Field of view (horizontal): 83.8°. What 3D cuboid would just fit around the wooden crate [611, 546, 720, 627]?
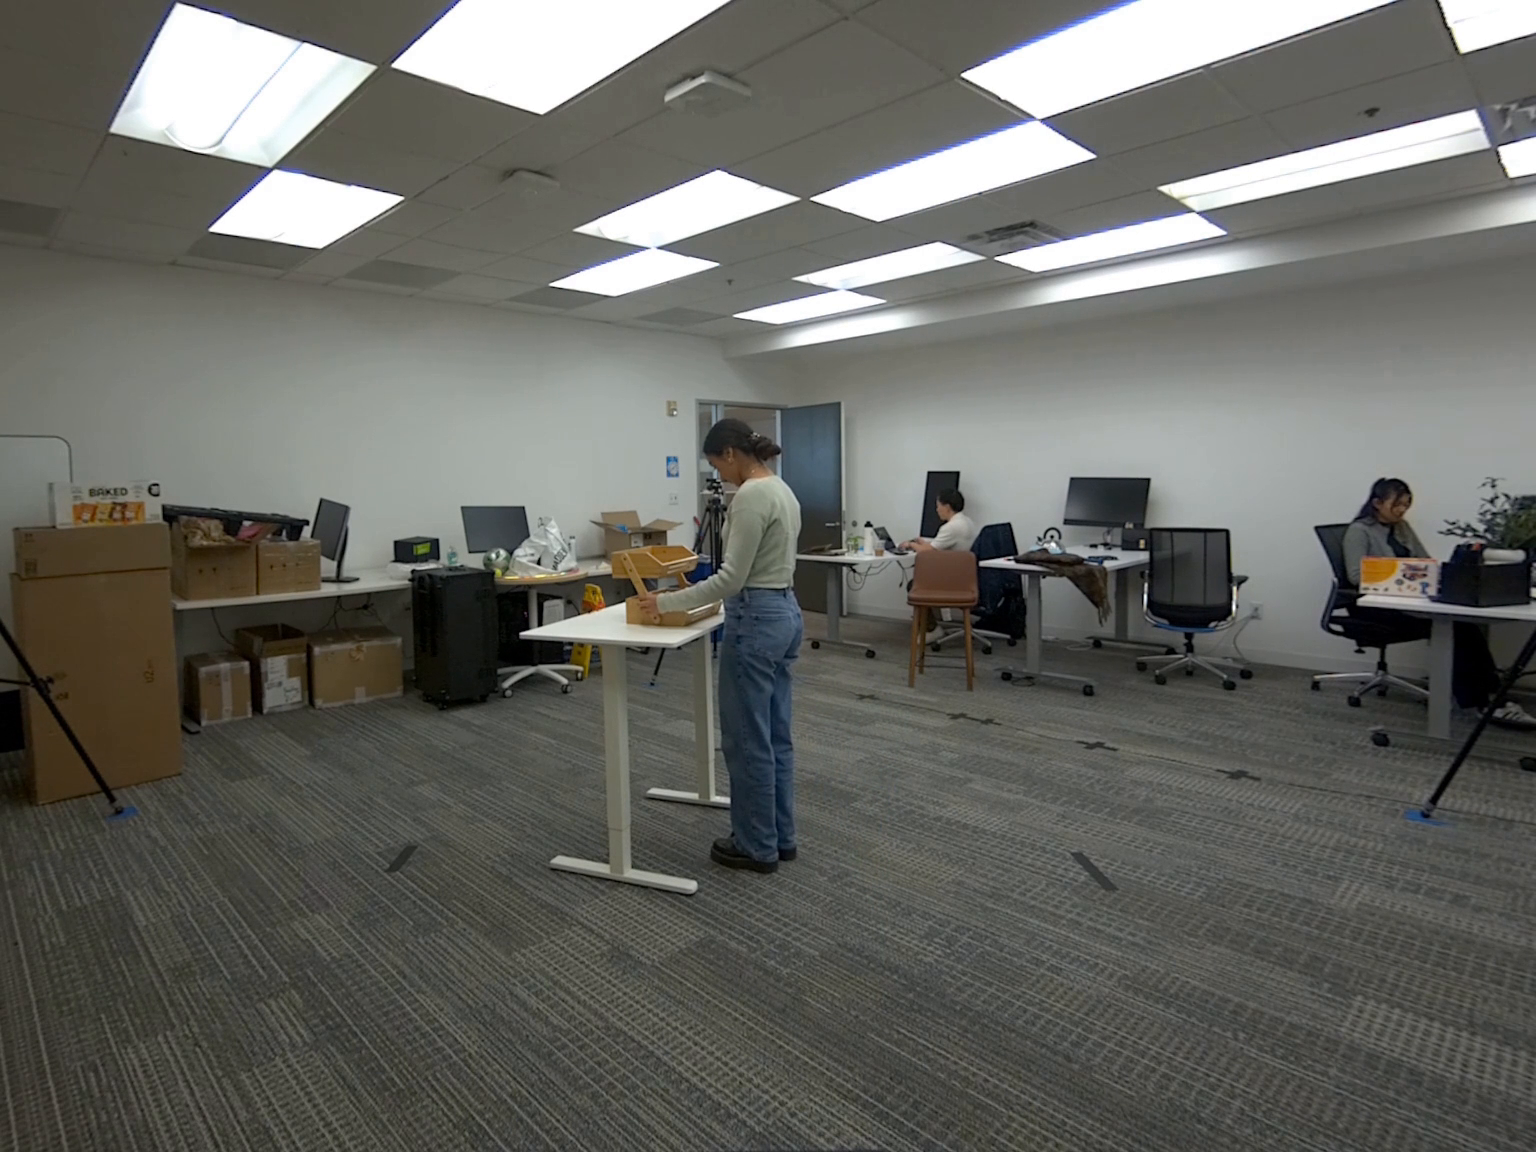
[{"bbox_3d":[-0.363,0.025,3.185,0.308,0.272,0.319,0,5,23],"label":"wooden crate"}]
